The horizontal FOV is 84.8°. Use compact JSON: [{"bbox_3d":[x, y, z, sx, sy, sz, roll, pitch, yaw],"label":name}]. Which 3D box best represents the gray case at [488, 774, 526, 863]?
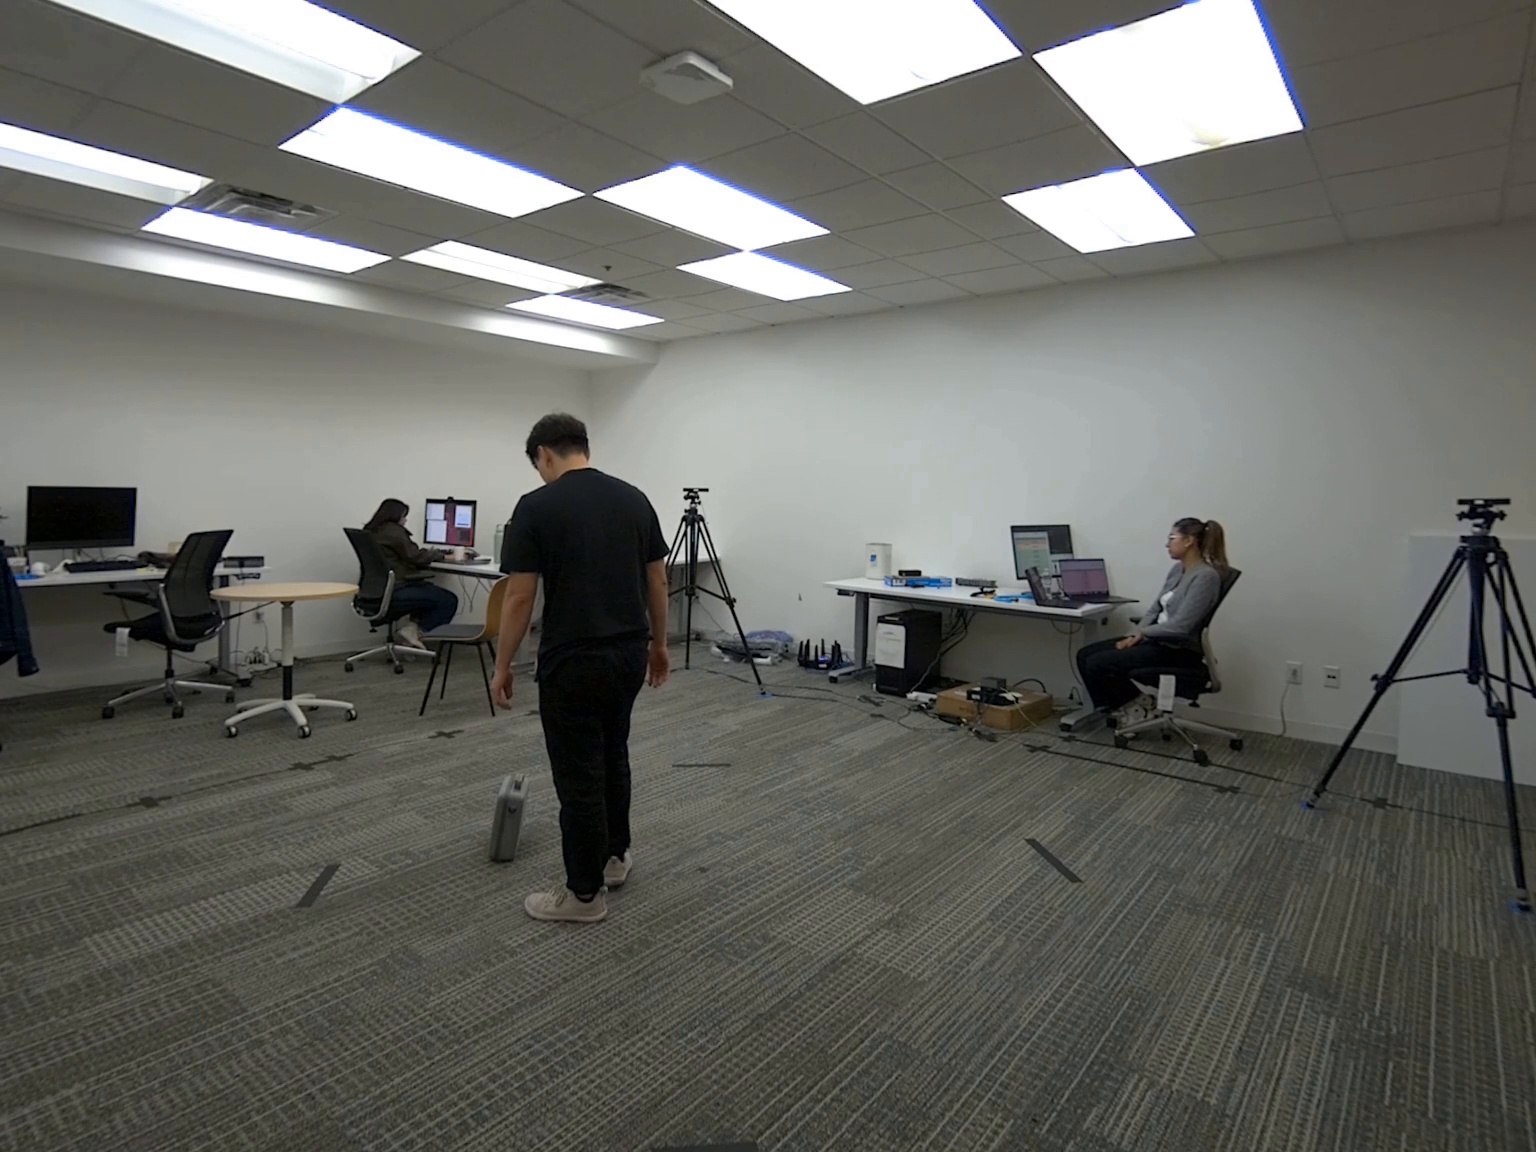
[{"bbox_3d":[-0.999,0.908,3.247,0.103,0.260,0.260,9,3,-10],"label":"gray case"}]
